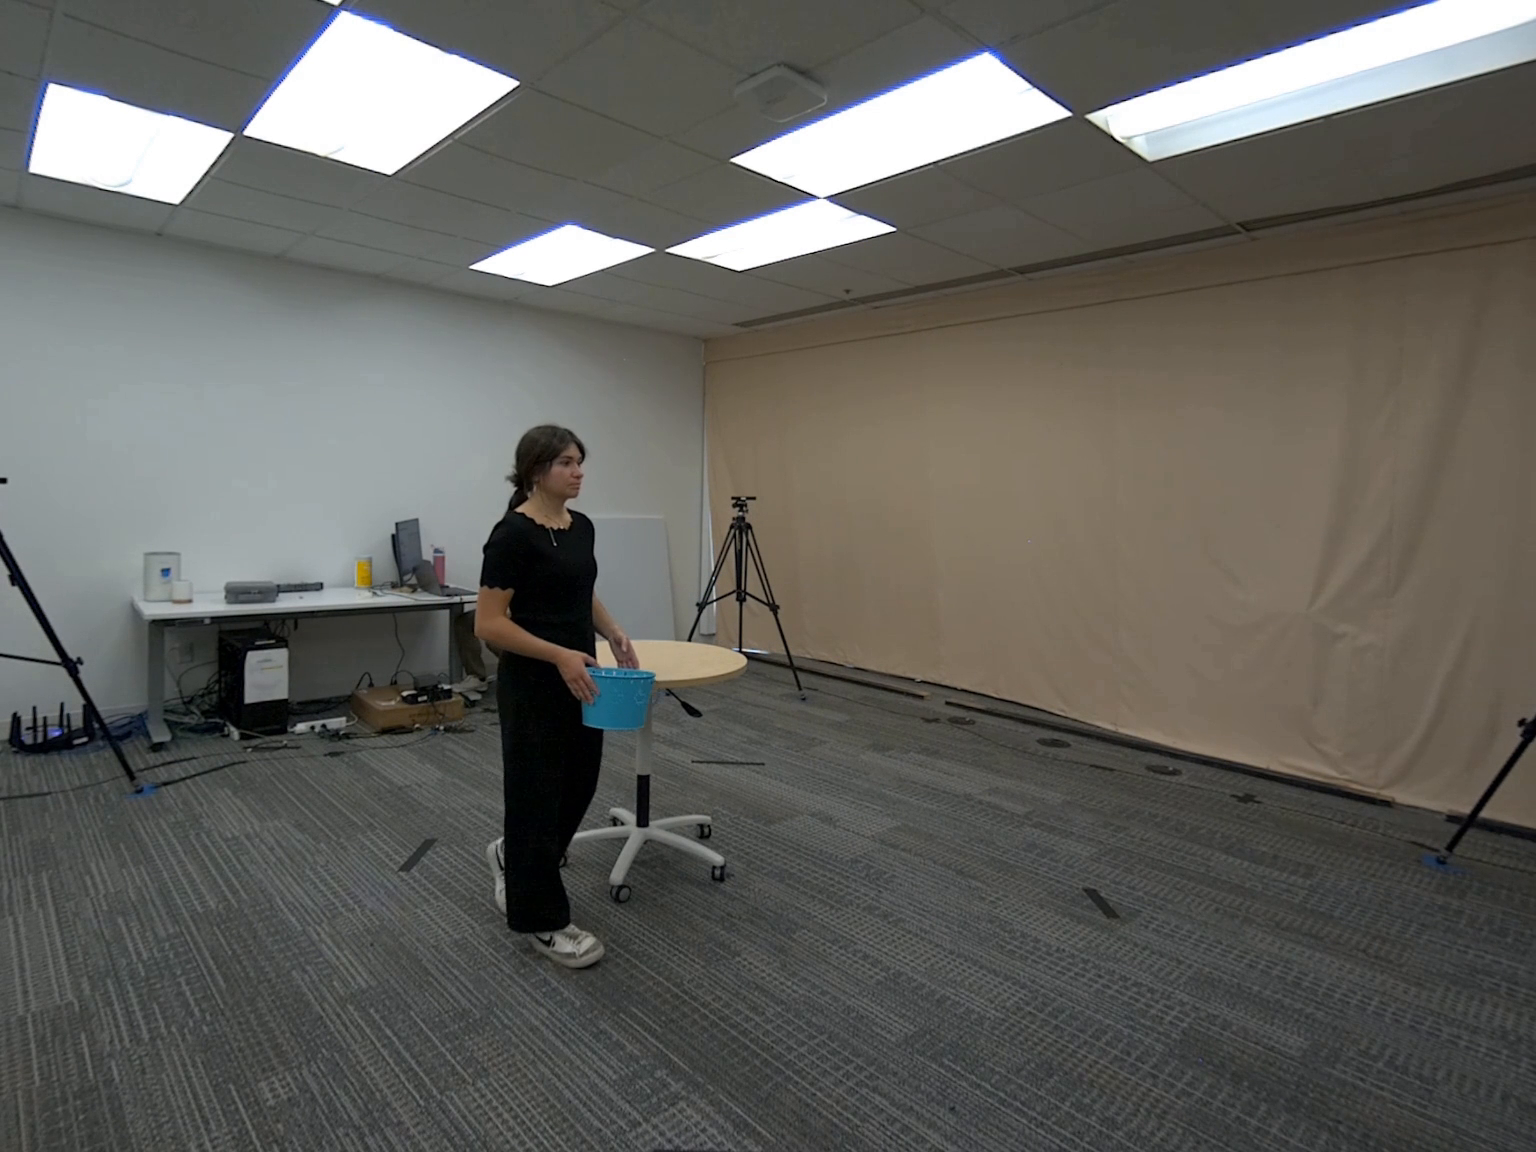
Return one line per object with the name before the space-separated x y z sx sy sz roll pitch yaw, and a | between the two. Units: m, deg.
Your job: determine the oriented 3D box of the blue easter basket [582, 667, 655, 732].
blue easter basket | -0.460 0.362 2.438 0.243 0.156 0.244 3 1 -1
